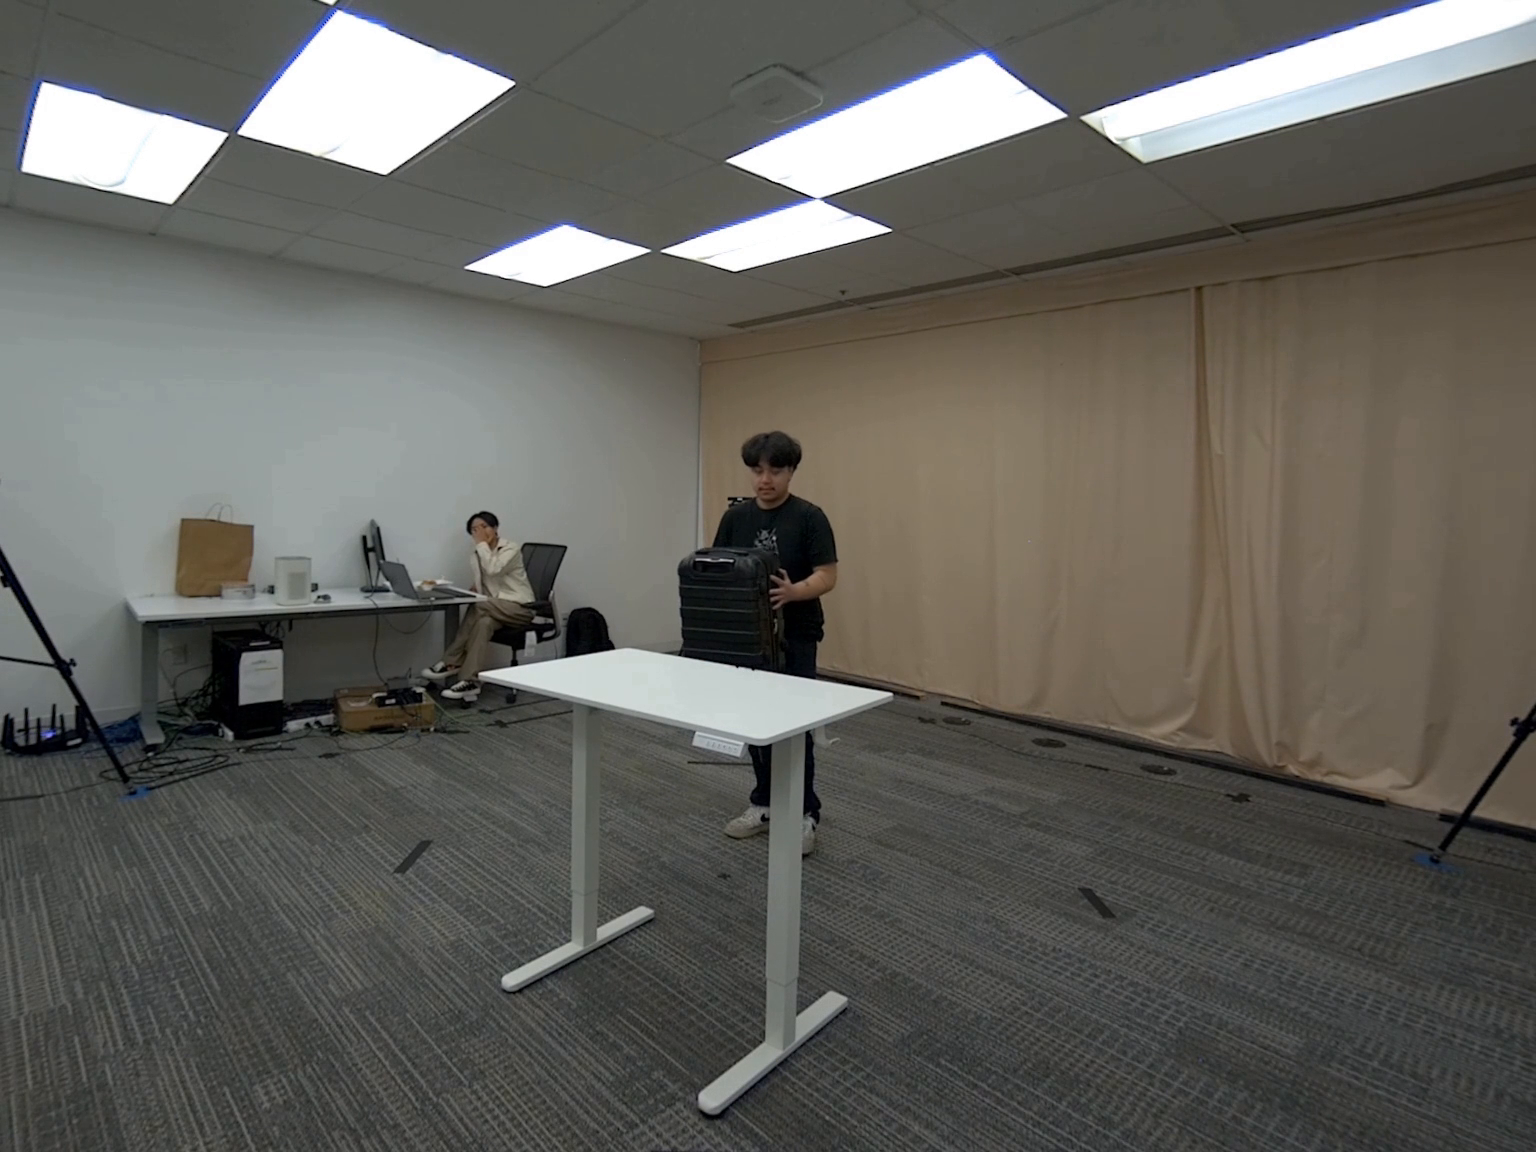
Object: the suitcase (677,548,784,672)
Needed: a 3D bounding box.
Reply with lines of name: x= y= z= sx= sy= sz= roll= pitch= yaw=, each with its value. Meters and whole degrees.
suitcase: x=-0.143 y=0.163 z=3.193 sx=0.383 sy=0.545 sz=0.245 roll=1 pitch=11 yaw=26
